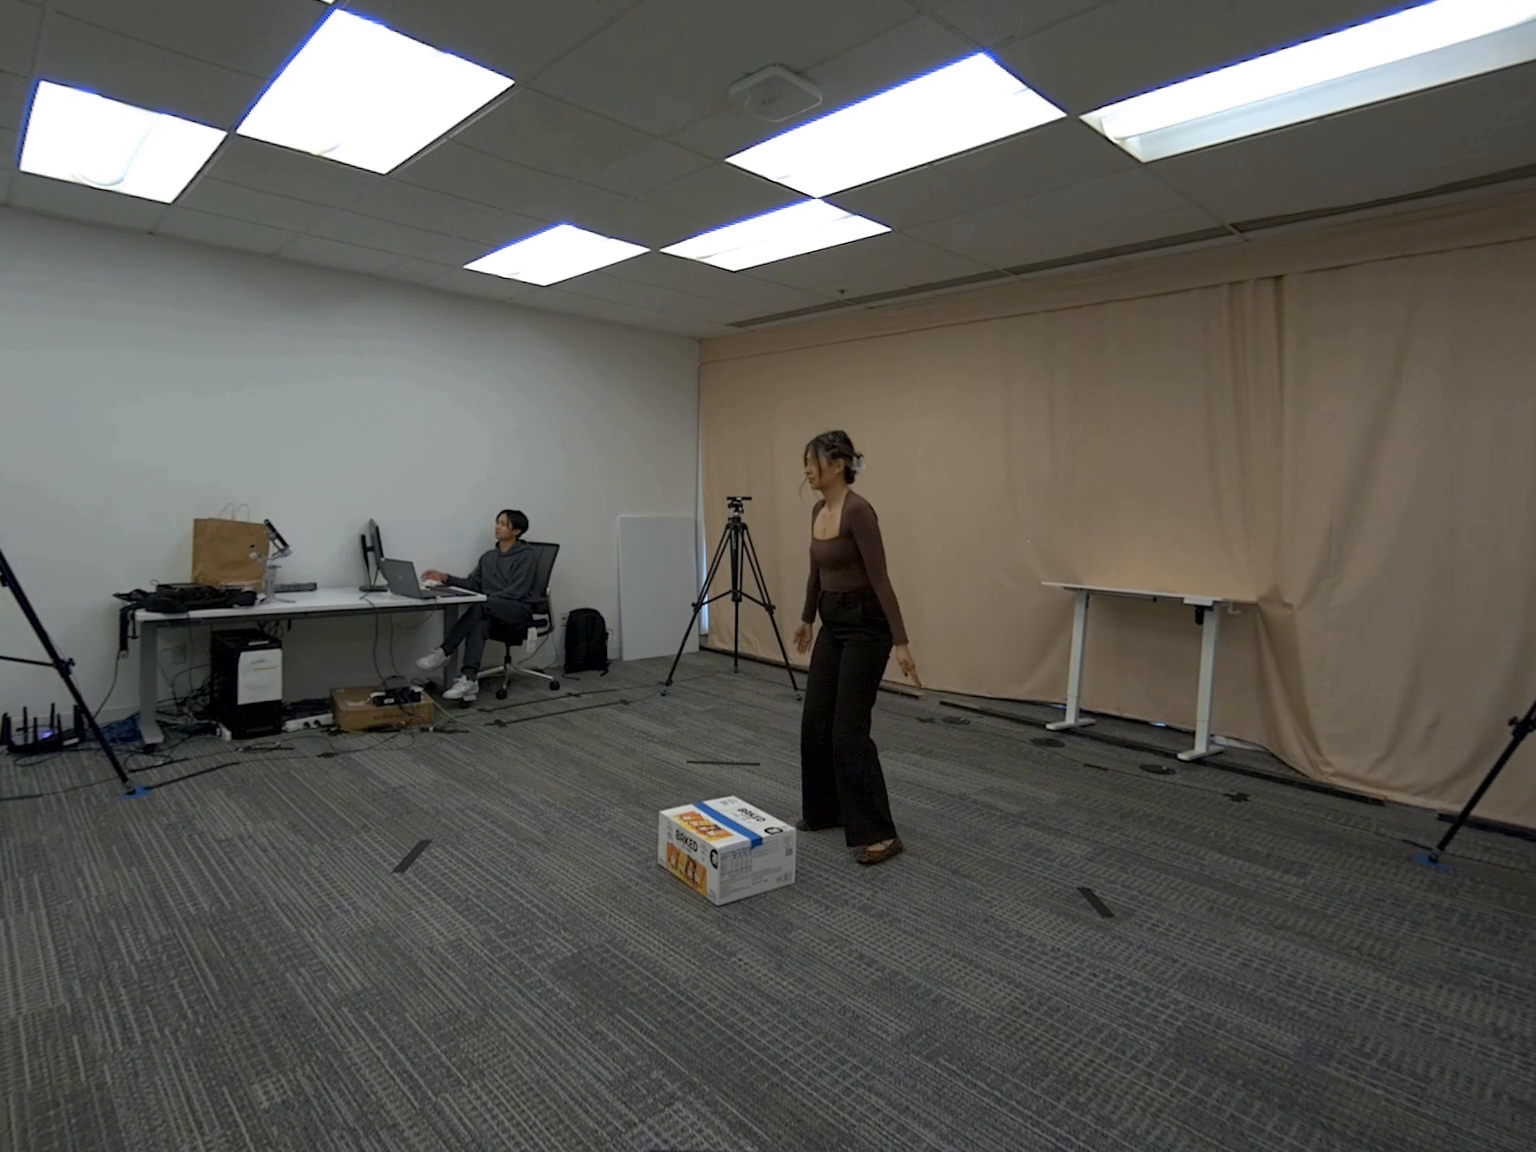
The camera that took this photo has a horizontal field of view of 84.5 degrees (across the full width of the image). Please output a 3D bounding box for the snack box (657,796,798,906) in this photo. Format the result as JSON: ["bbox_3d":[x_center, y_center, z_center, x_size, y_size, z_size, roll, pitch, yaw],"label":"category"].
[{"bbox_3d":[-0.163,1.004,3.109,0.333,0.205,0.415,-2,6,-36],"label":"snack box"}]
